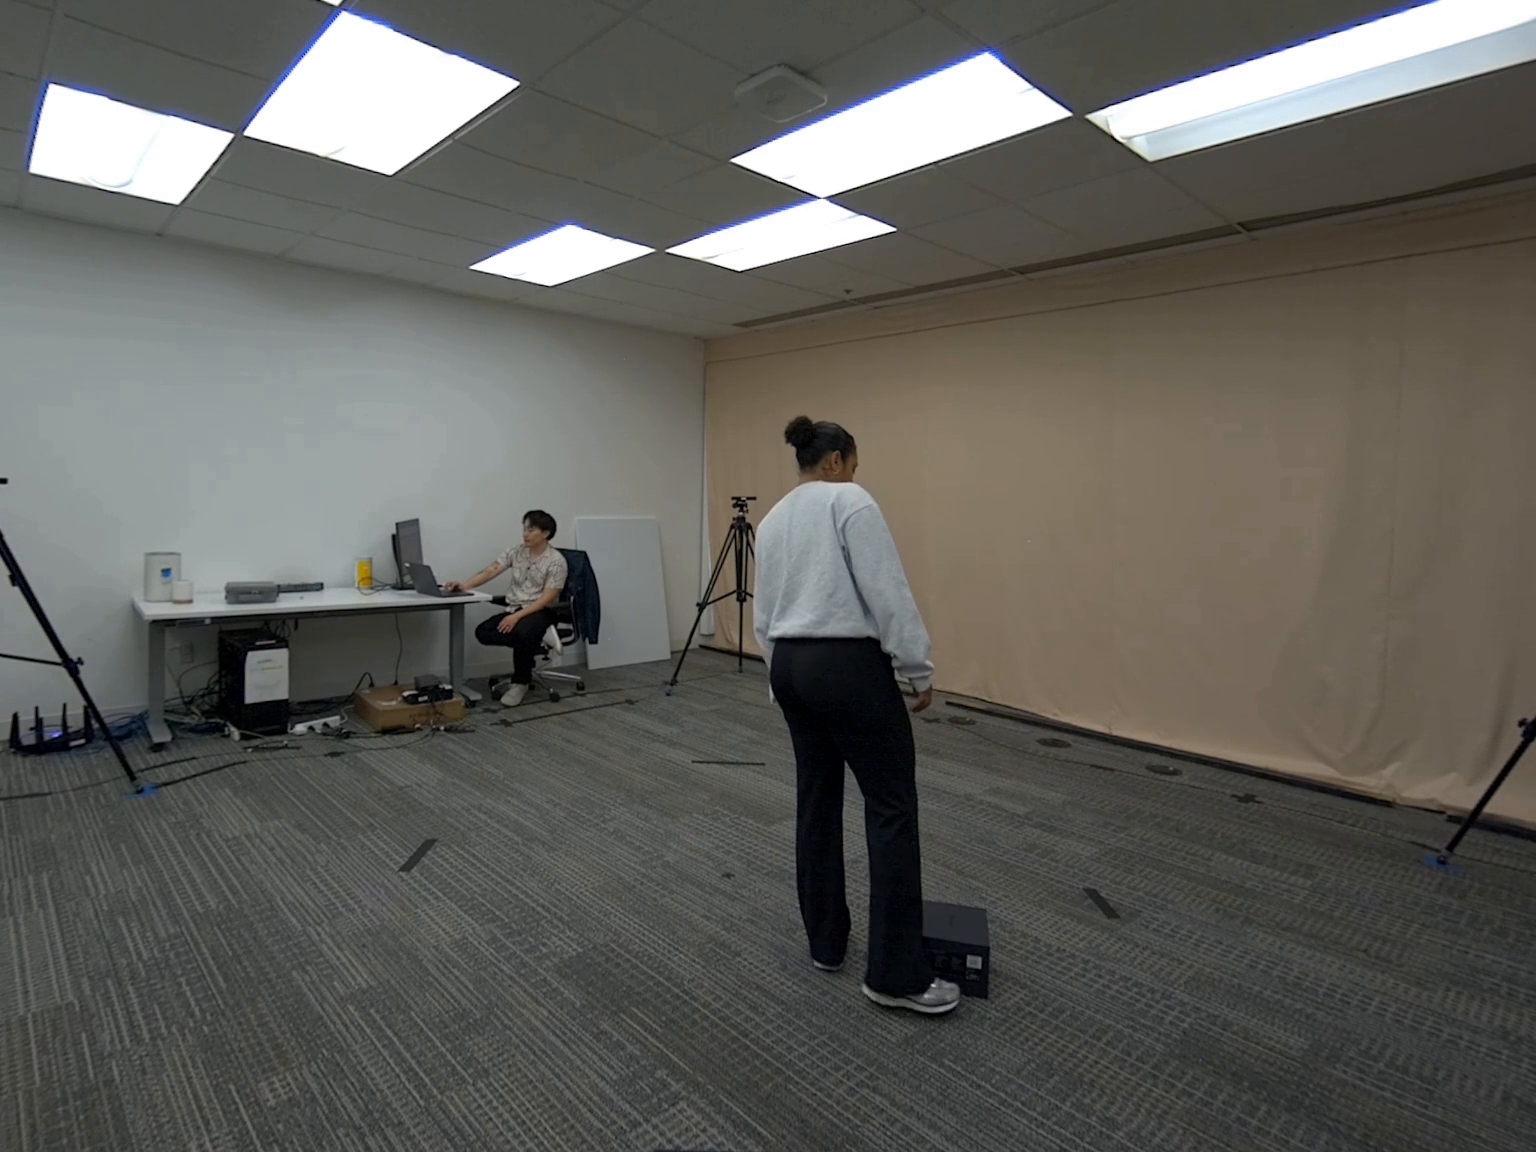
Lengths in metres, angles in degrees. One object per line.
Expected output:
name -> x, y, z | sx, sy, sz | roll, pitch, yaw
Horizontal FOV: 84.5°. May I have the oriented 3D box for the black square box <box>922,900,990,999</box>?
black square box -> 0.538, 1.098, 2.499 | 0.219, 0.155, 0.226 | 2, 5, 12
